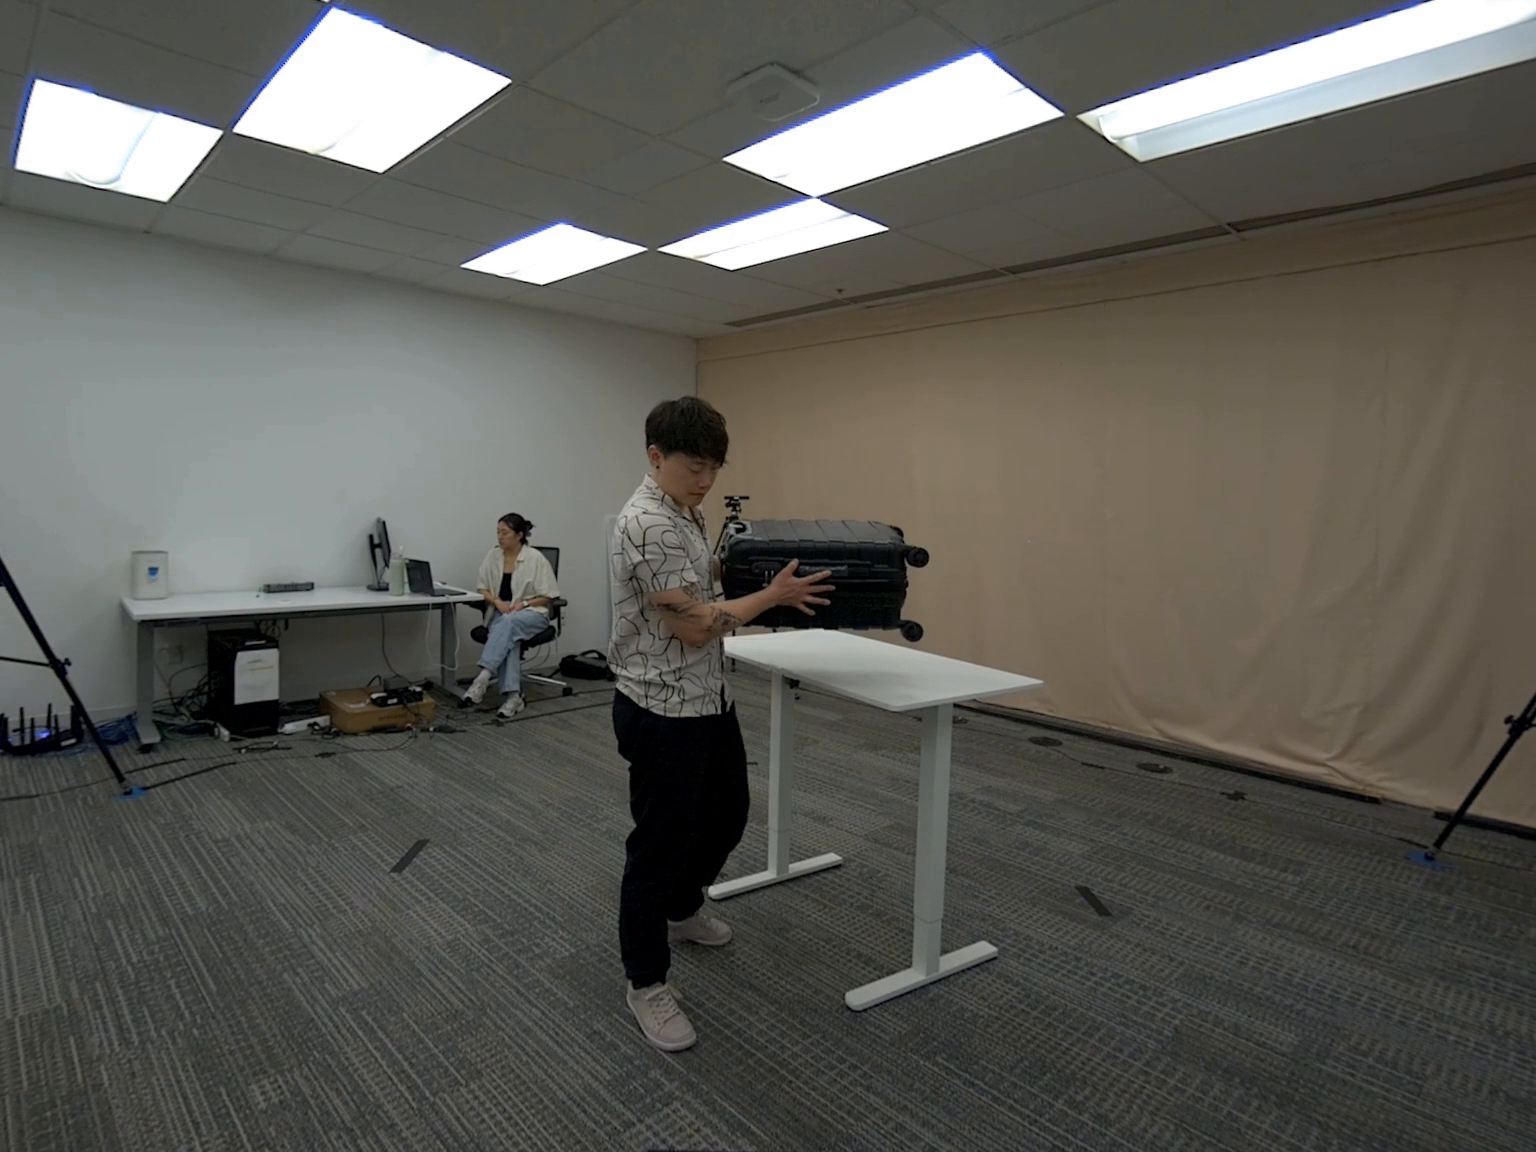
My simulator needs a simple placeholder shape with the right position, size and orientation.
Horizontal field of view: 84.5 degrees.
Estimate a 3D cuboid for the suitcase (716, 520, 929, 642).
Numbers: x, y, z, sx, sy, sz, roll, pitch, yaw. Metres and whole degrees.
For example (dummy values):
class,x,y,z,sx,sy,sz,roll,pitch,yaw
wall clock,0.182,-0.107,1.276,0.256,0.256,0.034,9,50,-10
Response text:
class,x,y,z,sx,sy,sz,roll,pitch,yaw
suitcase,0.131,-0.009,2.398,0.549,0.246,0.380,2,15,-2
